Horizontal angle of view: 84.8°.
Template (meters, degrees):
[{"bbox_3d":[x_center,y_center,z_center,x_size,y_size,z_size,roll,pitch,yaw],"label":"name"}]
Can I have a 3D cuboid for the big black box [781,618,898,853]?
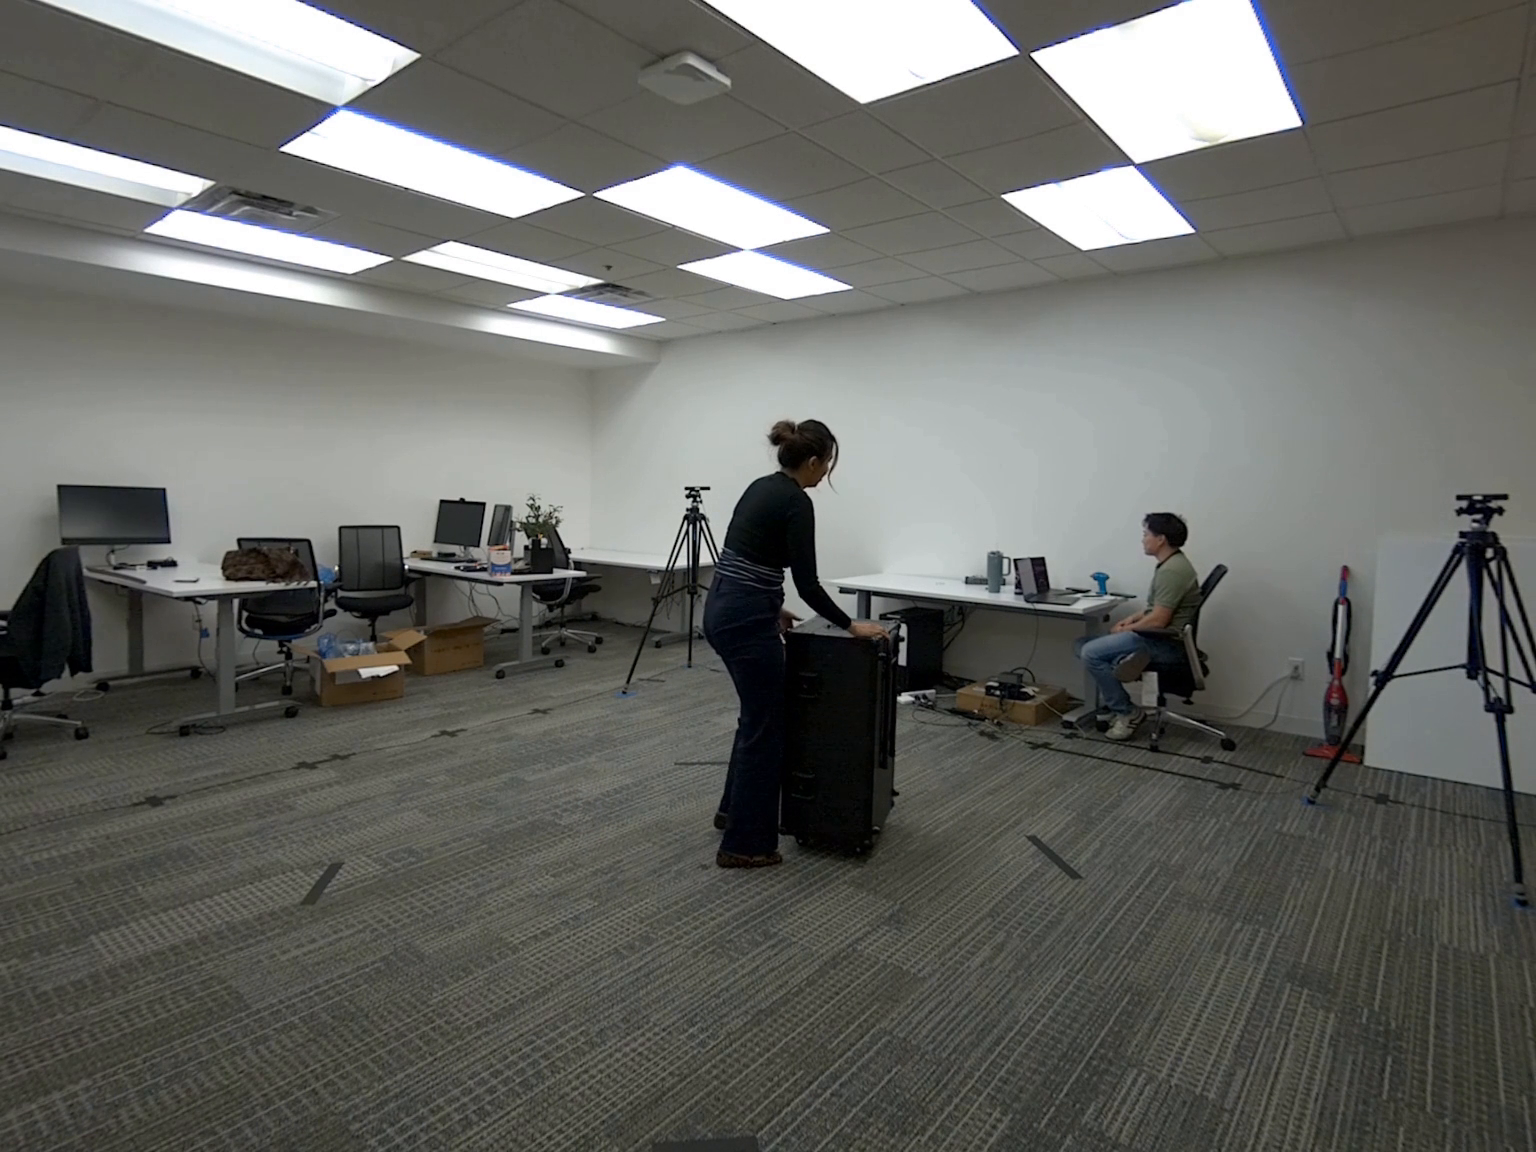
[{"bbox_3d":[0.304,0.620,3.399,0.405,0.858,0.511,4,4,20],"label":"big black box"}]
